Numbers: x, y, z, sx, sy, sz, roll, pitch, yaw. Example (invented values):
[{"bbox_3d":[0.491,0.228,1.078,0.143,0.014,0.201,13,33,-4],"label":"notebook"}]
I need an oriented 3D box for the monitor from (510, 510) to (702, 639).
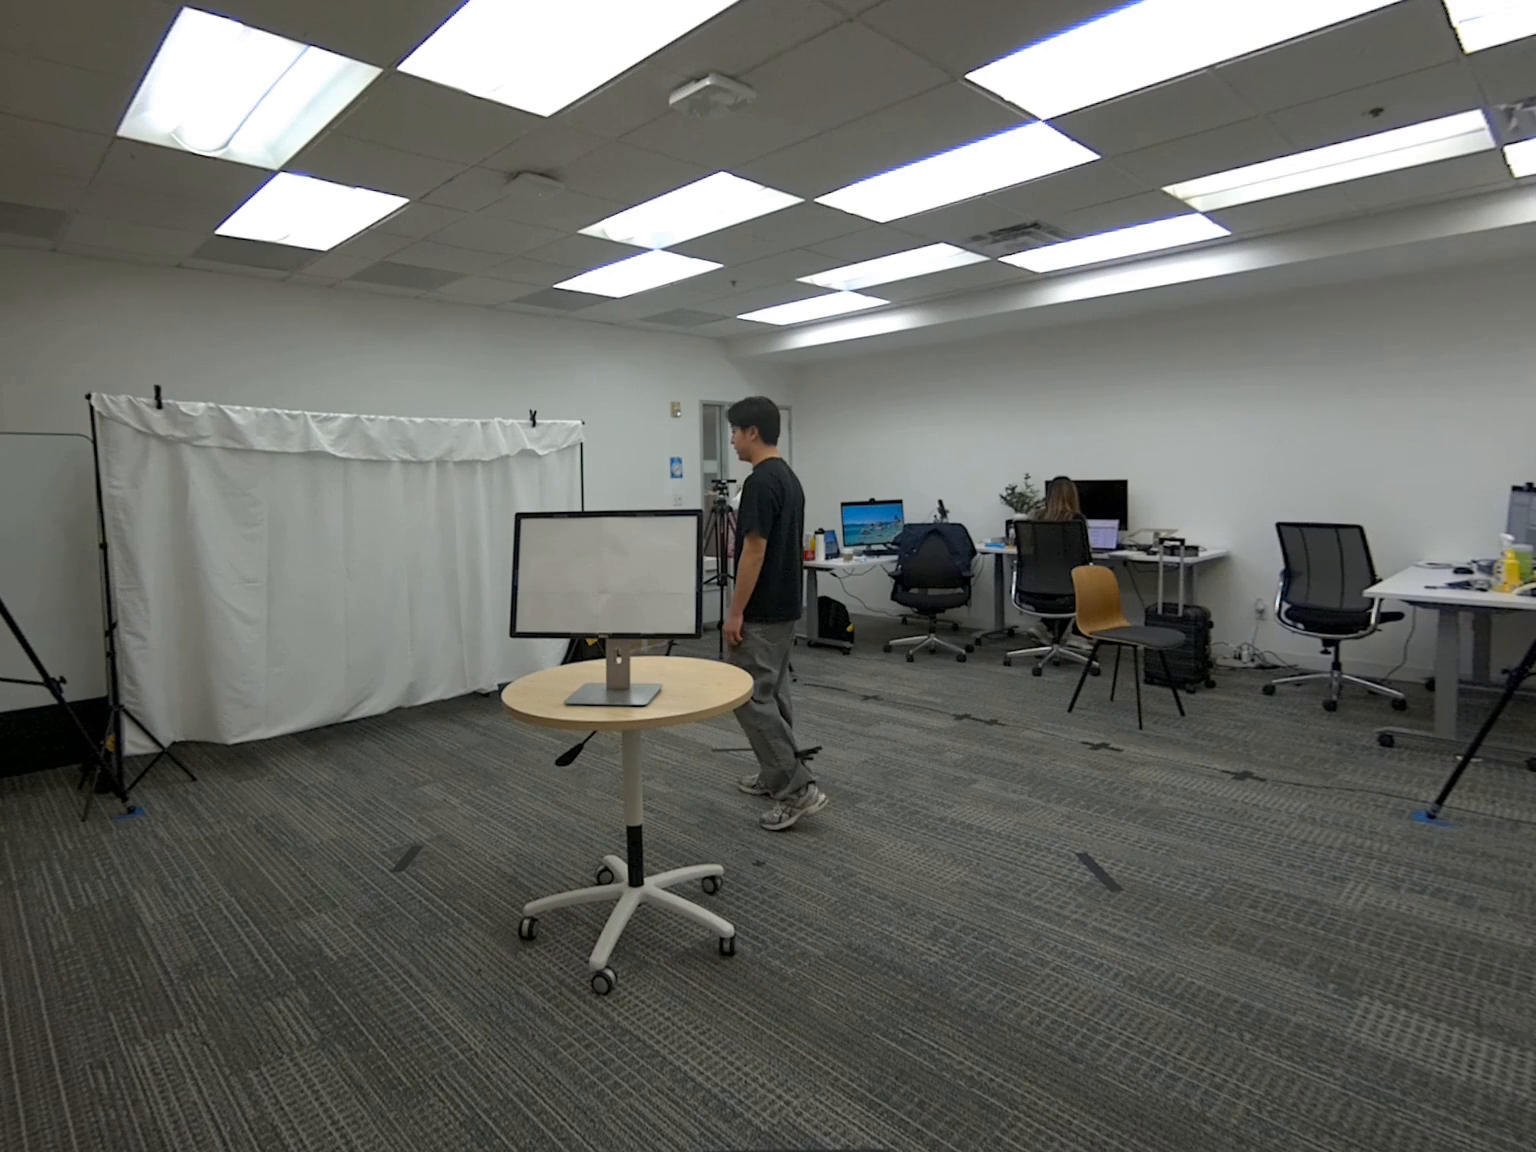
[{"bbox_3d":[-0.447,0.094,2.455,0.568,0.562,0.221,0,7,11],"label":"monitor"}]
